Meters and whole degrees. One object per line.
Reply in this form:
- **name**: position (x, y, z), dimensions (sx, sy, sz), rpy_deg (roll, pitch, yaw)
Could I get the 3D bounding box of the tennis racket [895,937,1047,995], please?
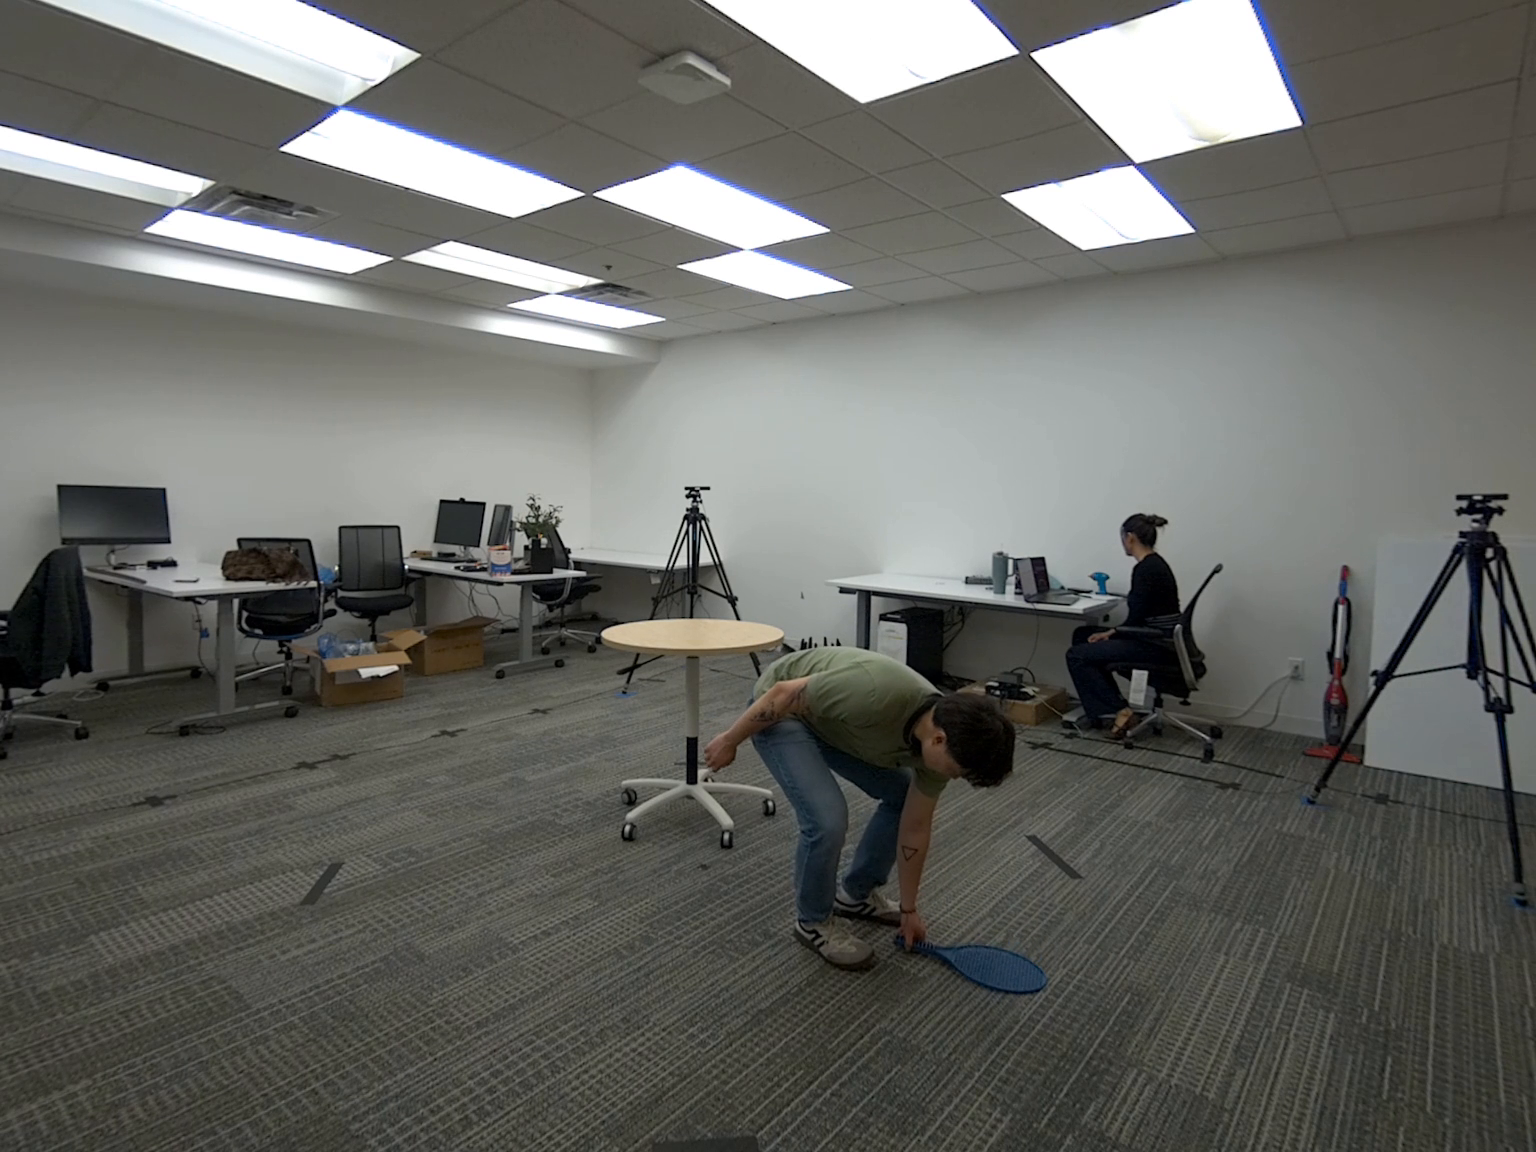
- **tennis racket**: position (0.579, 1.120, 2.509), dimensions (0.444, 0.031, 0.209), rpy_deg (5, 8, 23)
